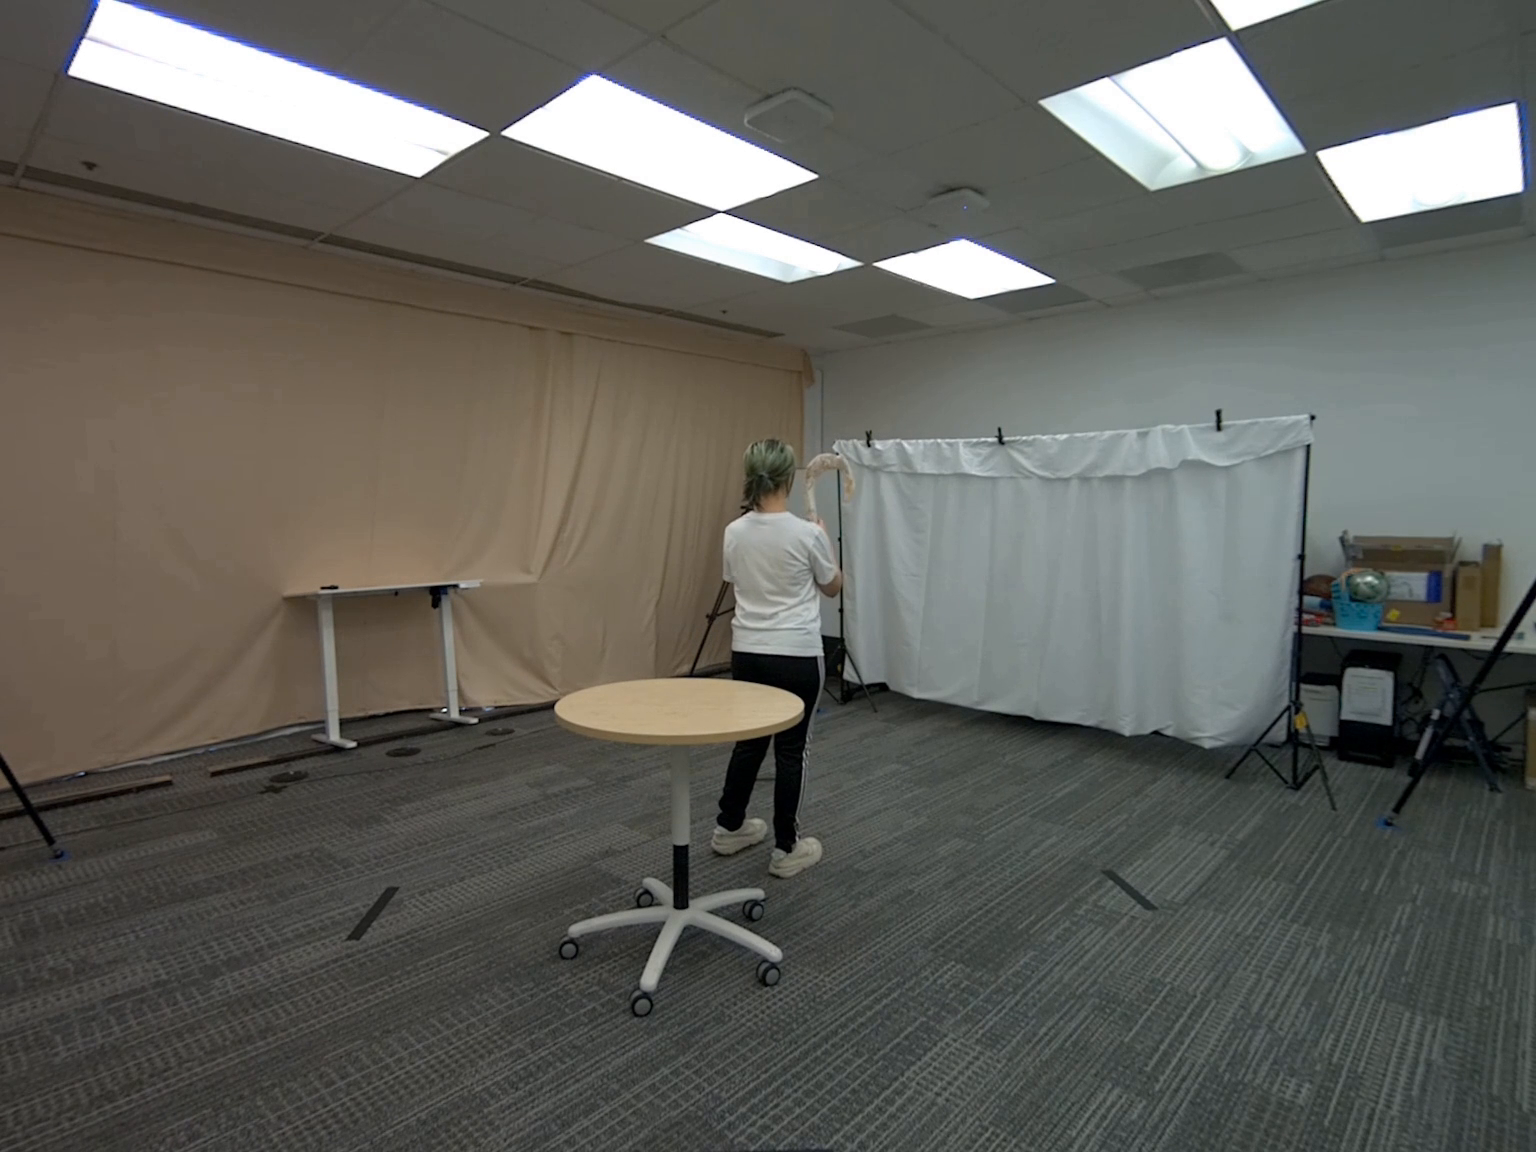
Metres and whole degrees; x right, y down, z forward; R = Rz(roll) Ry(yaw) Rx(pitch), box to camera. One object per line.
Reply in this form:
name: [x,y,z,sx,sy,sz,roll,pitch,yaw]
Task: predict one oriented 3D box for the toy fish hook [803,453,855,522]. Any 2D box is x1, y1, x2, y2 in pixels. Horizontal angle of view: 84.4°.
toy fish hook: [0.232,-0.245,3.424,0.232,0.506,0.047,5,0,34]
